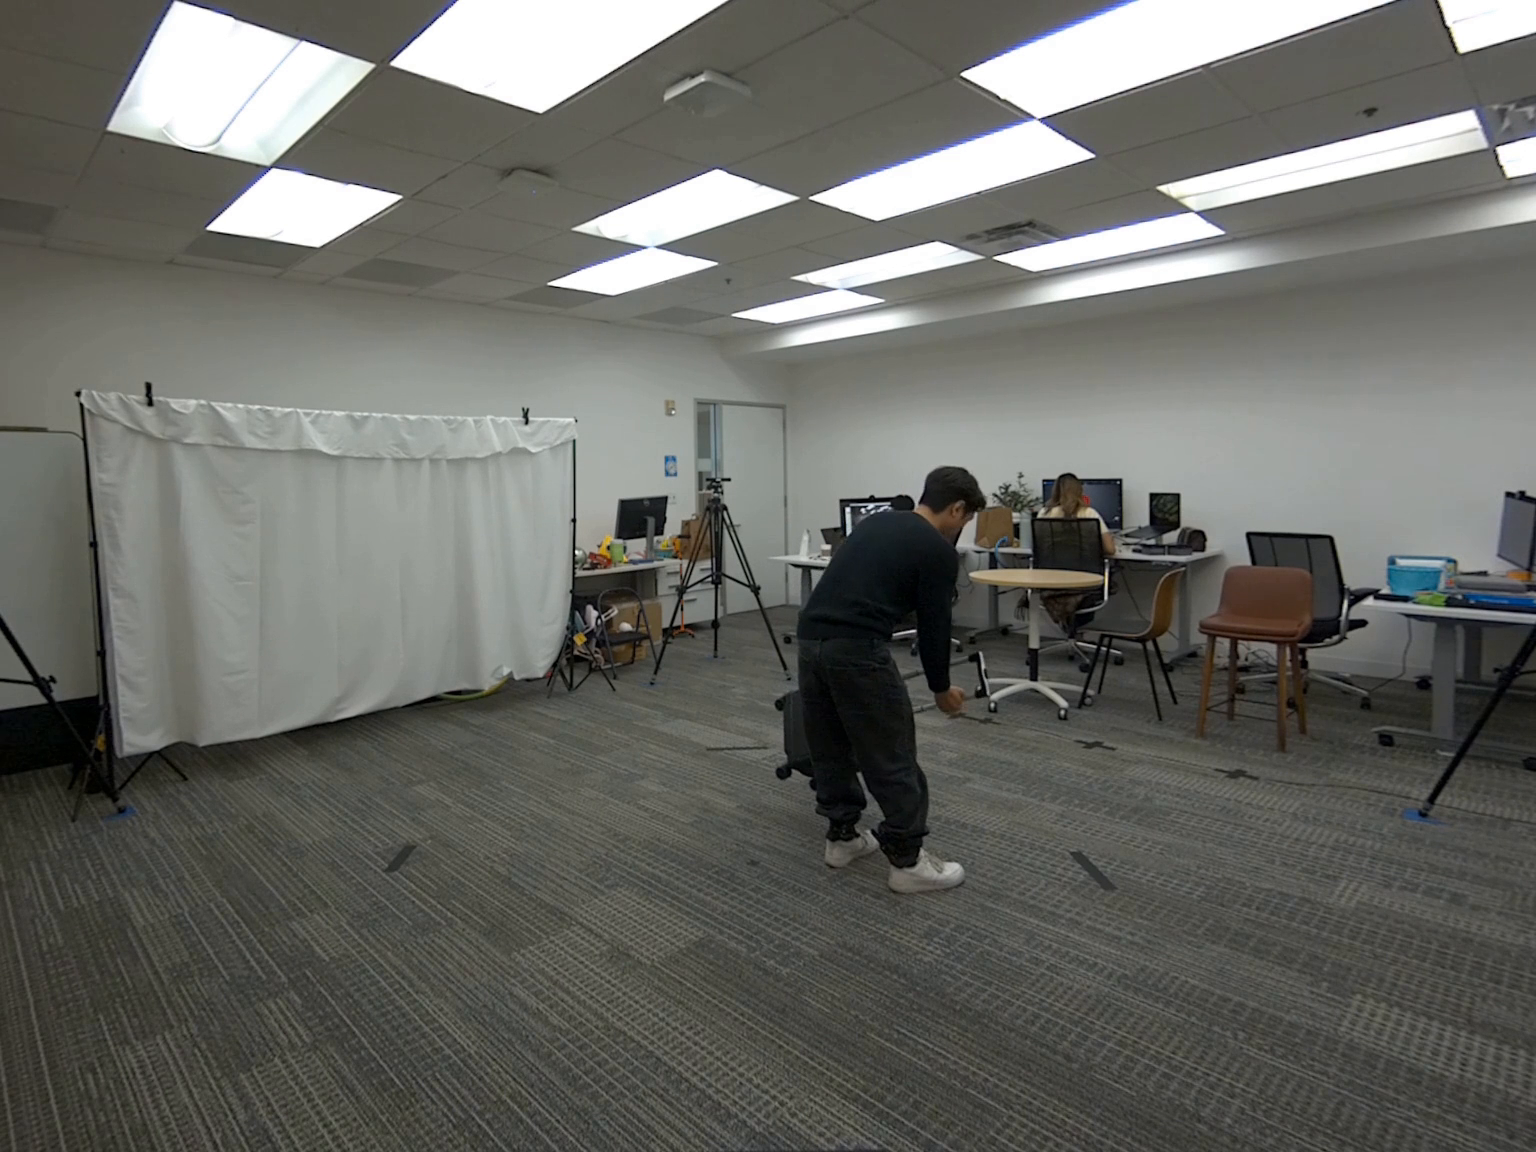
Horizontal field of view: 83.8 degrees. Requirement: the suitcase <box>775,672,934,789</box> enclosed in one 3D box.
[{"bbox_3d":[0.469,0.536,3.351,0.991,0.393,0.247,-26,-38,36],"label":"suitcase"}]
